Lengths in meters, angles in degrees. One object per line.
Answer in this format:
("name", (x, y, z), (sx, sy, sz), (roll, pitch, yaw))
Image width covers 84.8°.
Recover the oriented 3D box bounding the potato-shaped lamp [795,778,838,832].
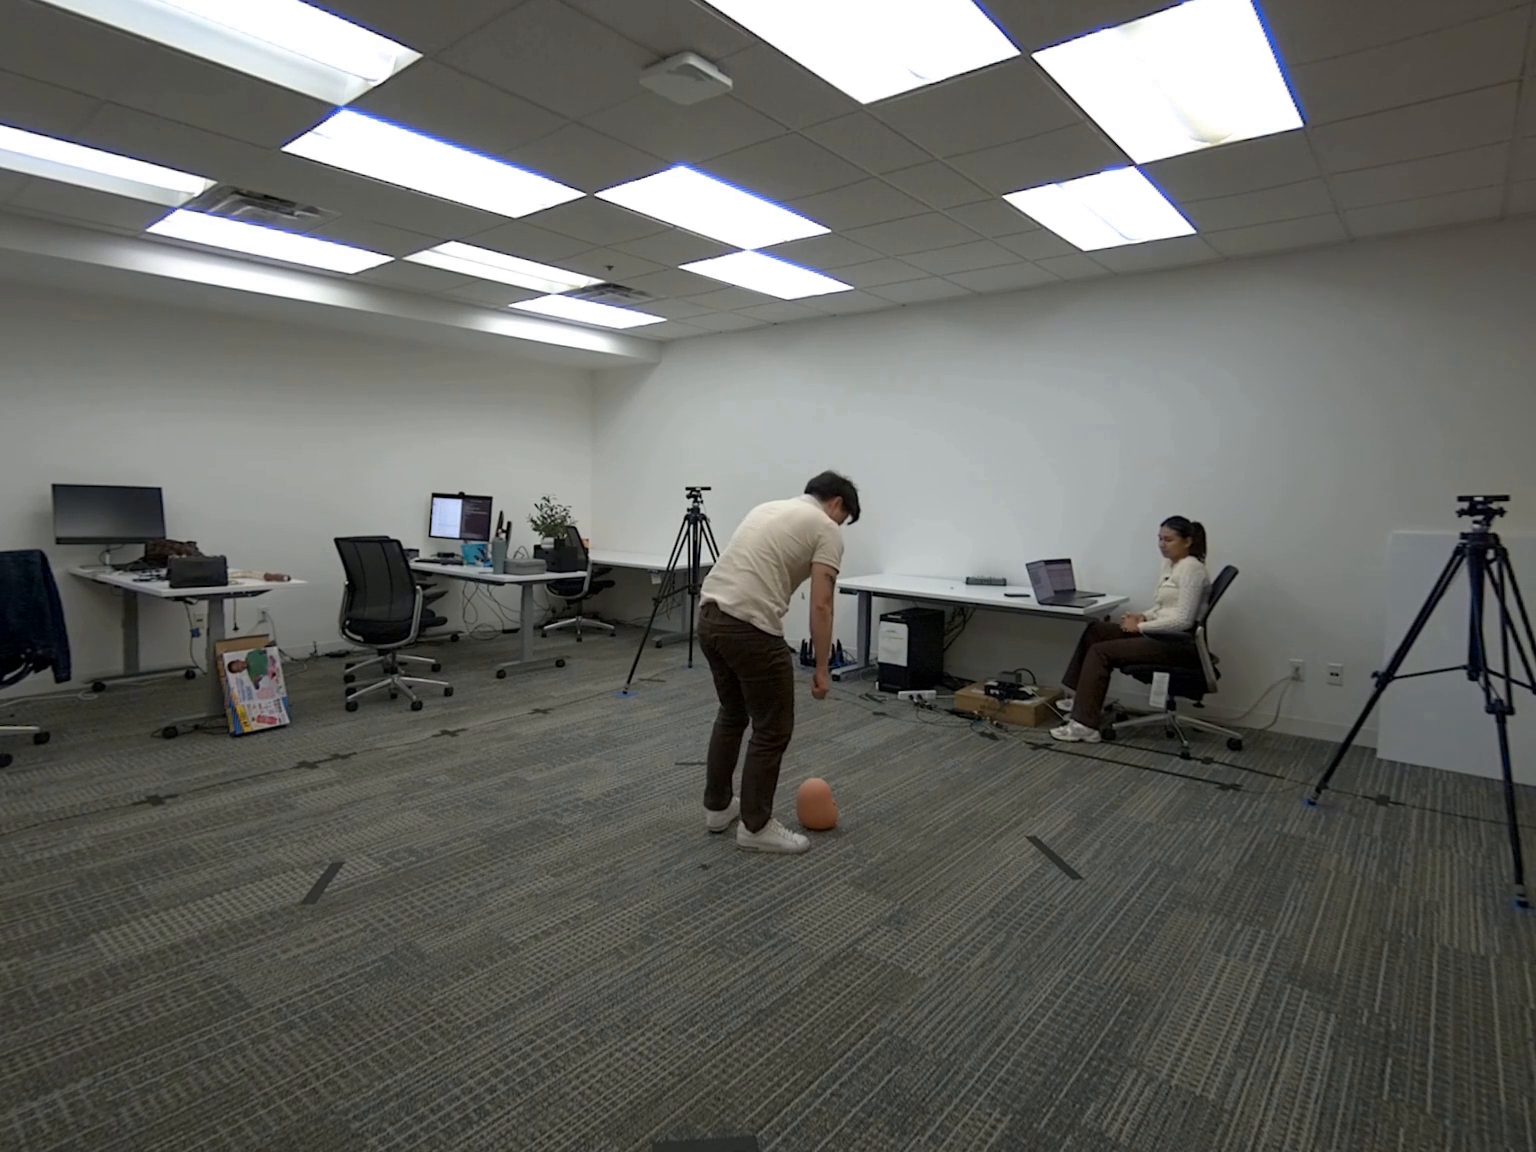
("potato-shaped lamp", (0.192, 0.936, 3.523), (0.167, 0.198, 0.169), (-2, 3, -27))
